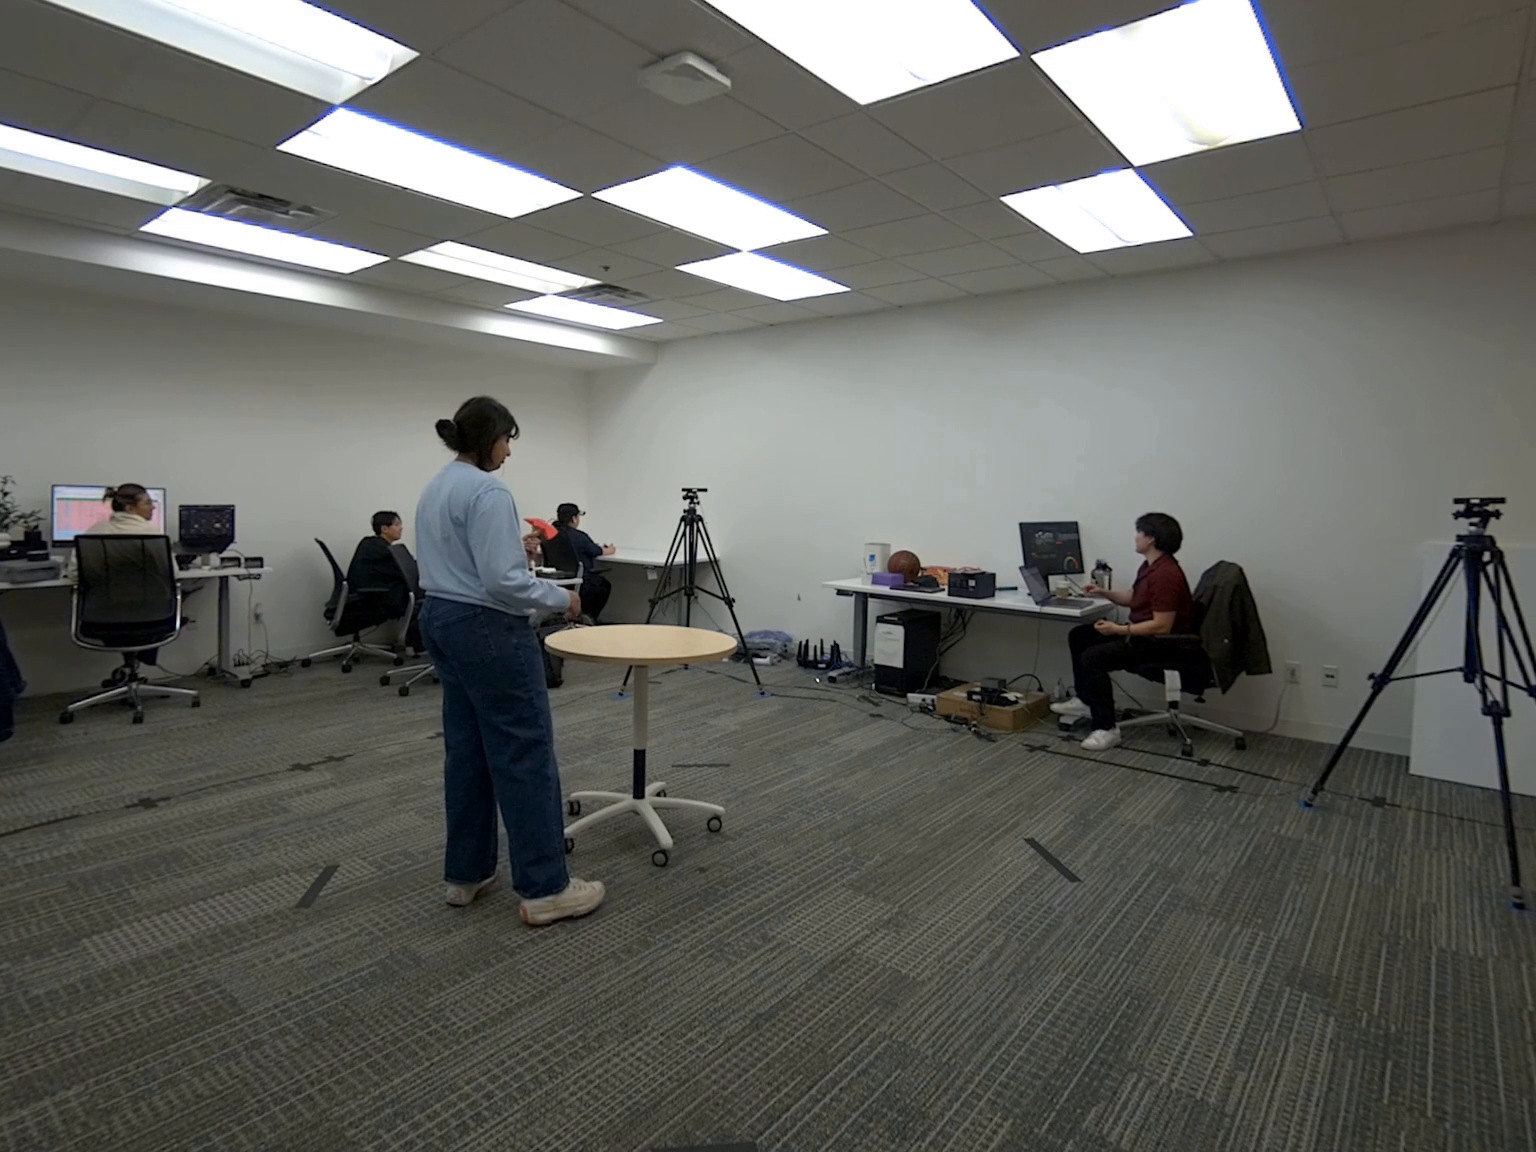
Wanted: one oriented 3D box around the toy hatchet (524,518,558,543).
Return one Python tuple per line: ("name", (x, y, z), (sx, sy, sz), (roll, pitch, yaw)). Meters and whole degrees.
("toy hatchet", (-0.858, -0.115, 3.141), (0.128, 0.029, 0.278), (11, 43, -16))
